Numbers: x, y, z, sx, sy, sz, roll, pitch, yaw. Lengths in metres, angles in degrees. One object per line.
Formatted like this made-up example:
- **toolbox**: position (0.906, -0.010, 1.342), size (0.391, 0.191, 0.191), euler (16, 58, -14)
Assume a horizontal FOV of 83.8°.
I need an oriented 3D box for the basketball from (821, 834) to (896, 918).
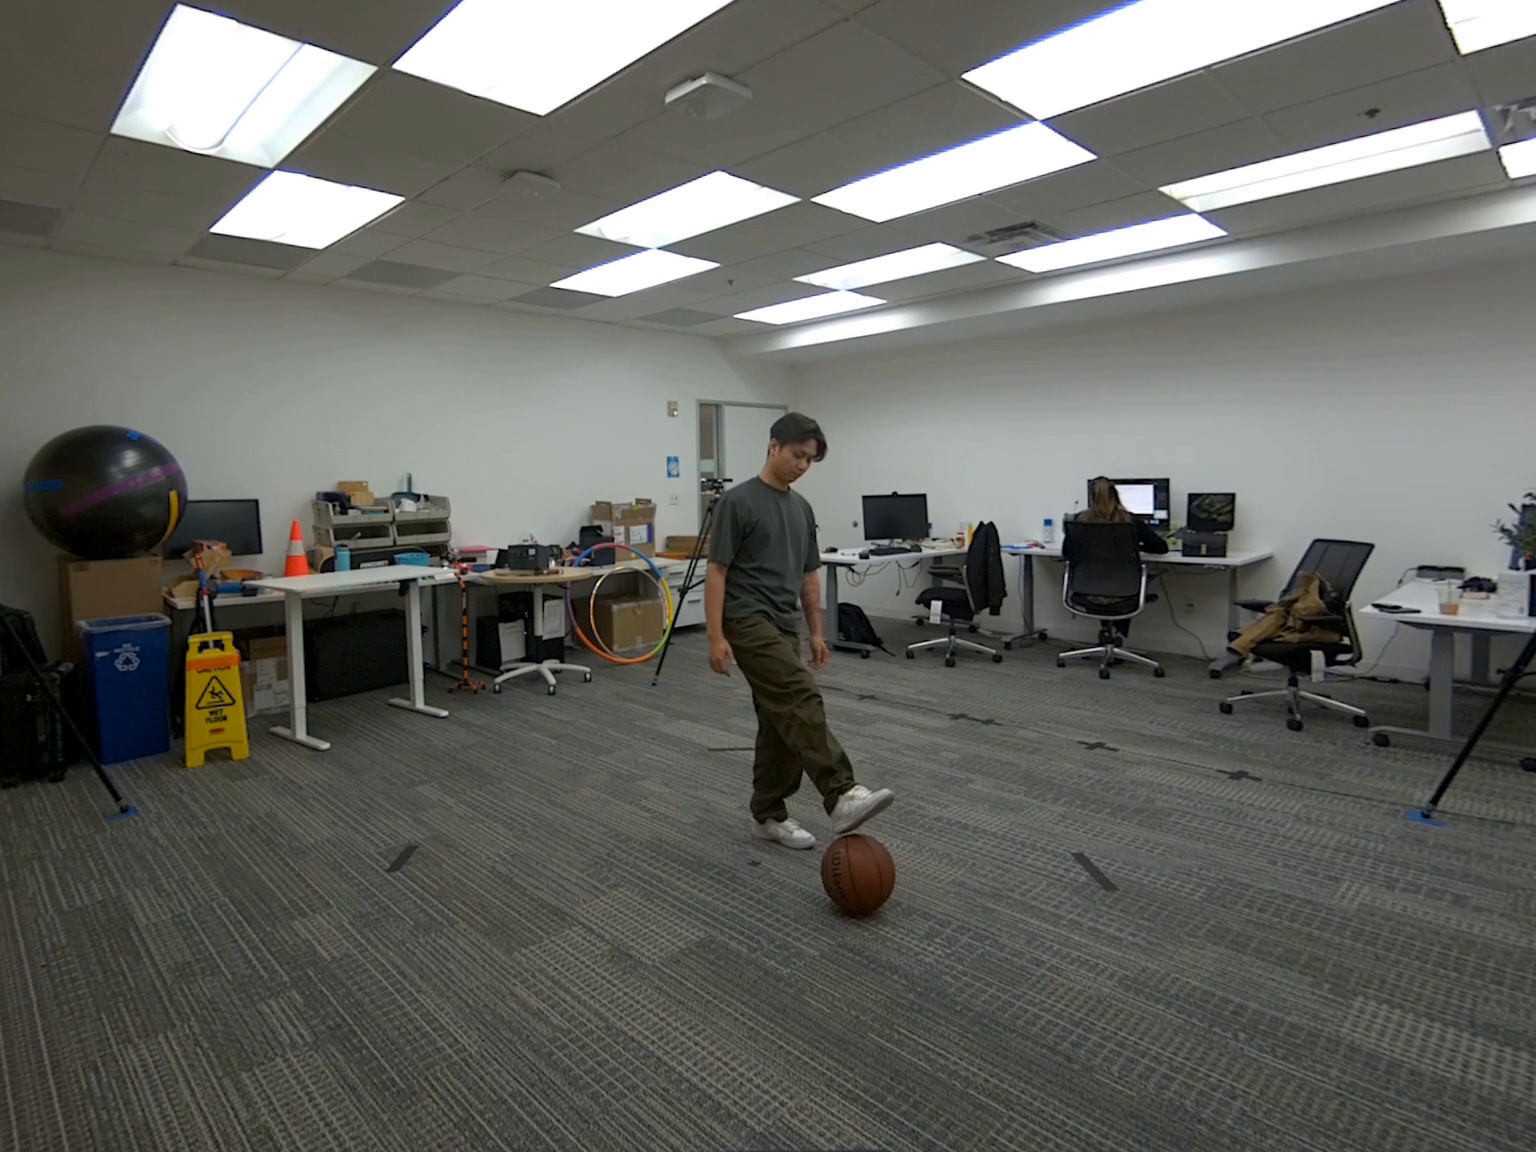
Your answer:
- **basketball**: position (0.294, 0.956, 2.762), size (0.236, 0.235, 0.237), euler (-1, 5, -2)
